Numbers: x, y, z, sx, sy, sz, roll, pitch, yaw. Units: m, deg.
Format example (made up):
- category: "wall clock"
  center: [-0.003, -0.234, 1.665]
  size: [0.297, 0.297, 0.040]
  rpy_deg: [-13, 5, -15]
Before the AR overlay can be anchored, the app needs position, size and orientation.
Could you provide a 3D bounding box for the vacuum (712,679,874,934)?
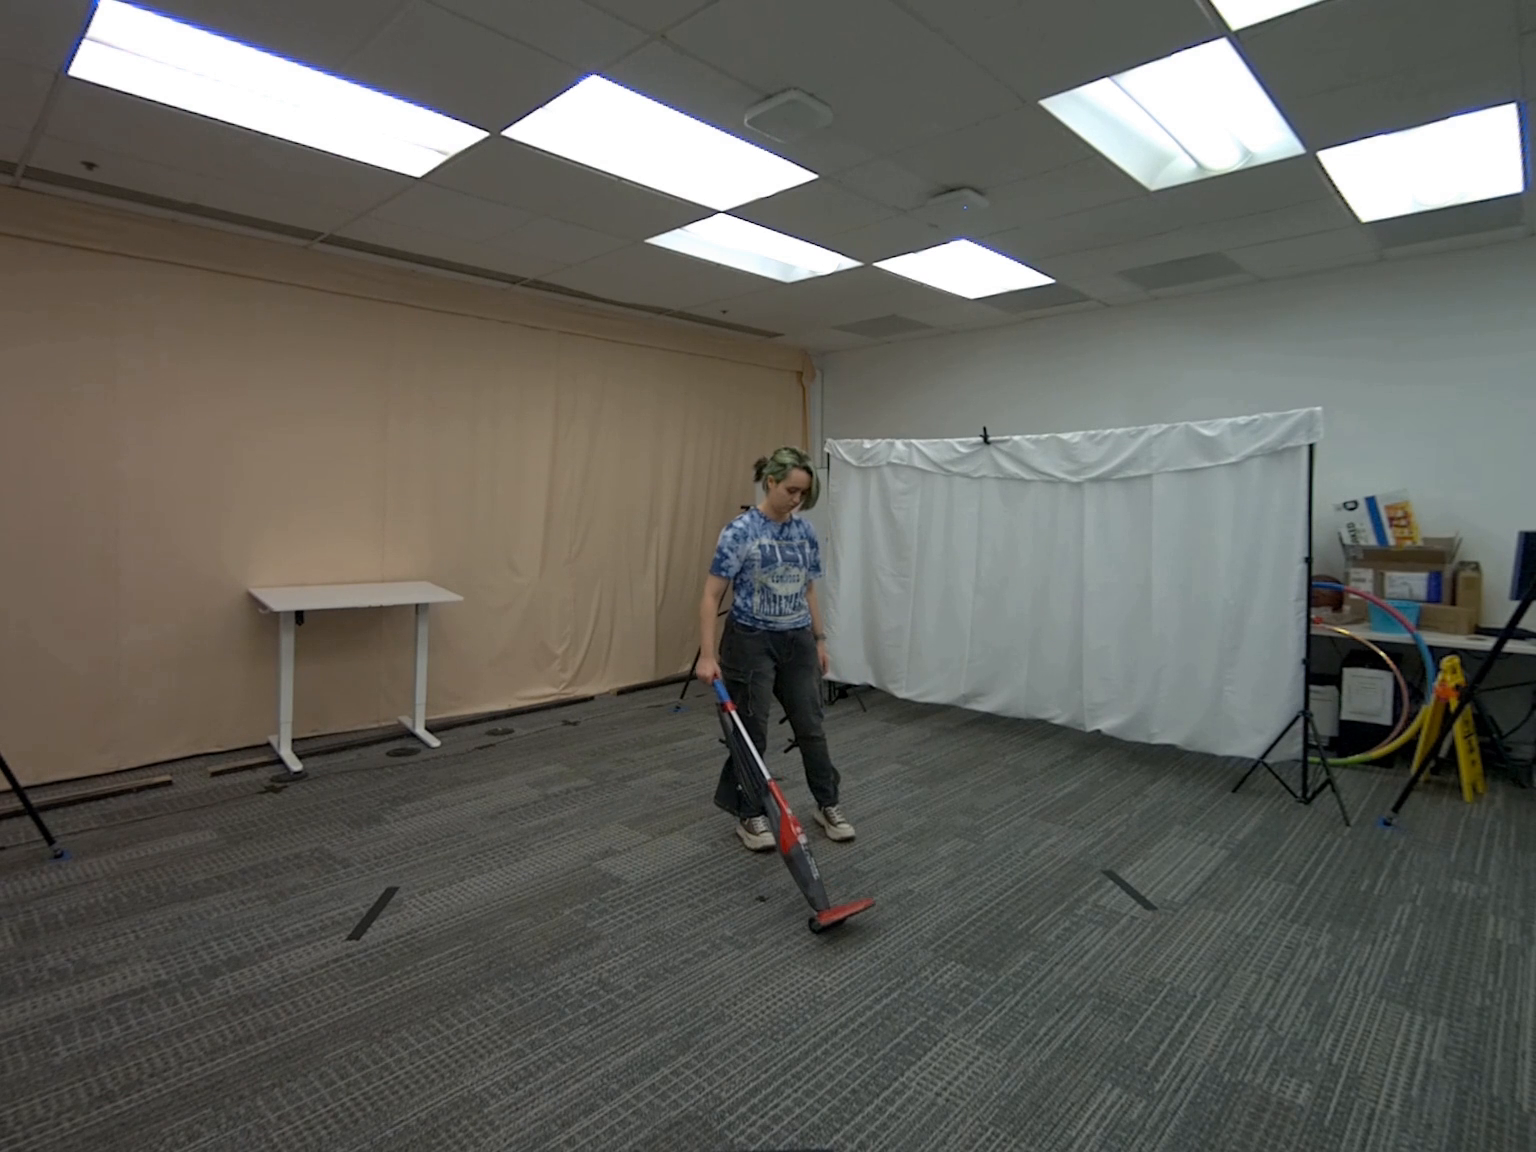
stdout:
- category: "vacuum"
  center: [-0.008, 0.749, 3.037]
  size: [0.245, 0.144, 1.082]
  rpy_deg: [0, 44, -38]
